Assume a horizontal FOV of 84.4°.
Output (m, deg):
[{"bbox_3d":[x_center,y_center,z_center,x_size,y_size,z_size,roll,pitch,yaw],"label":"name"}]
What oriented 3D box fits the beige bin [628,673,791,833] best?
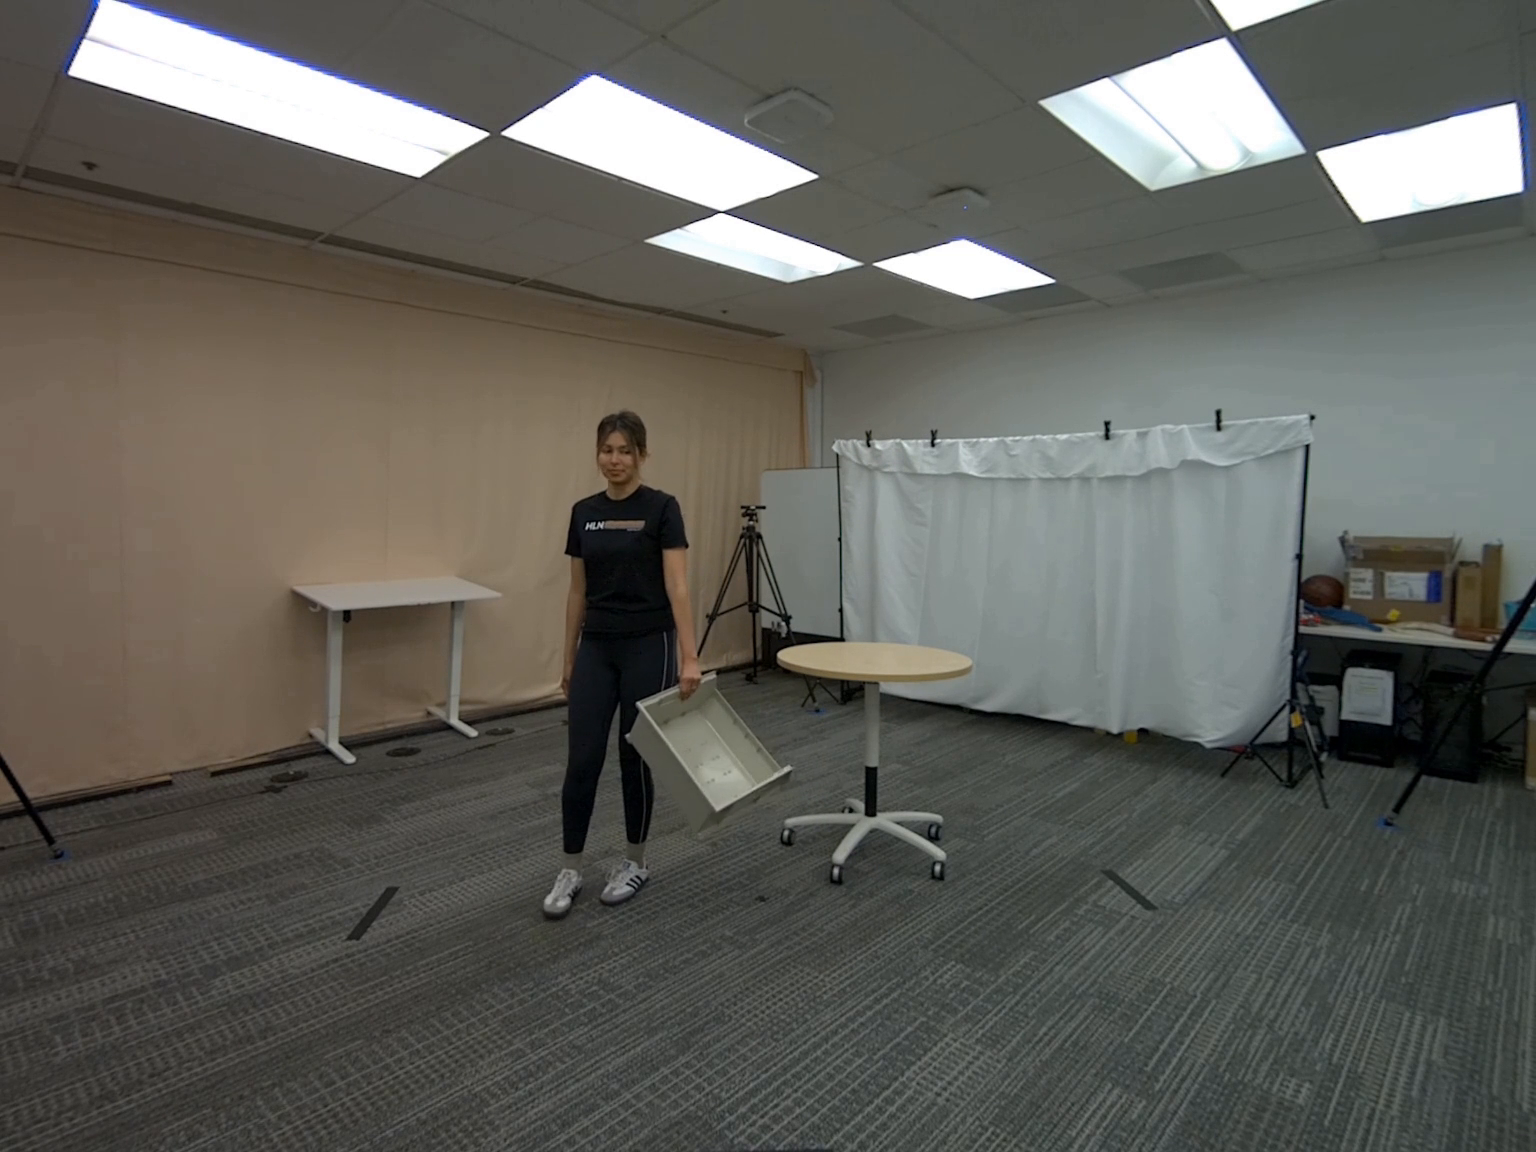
[{"bbox_3d":[-0.181,0.559,2.694,0.368,0.188,0.434,-18,55,-42],"label":"beige bin"}]
